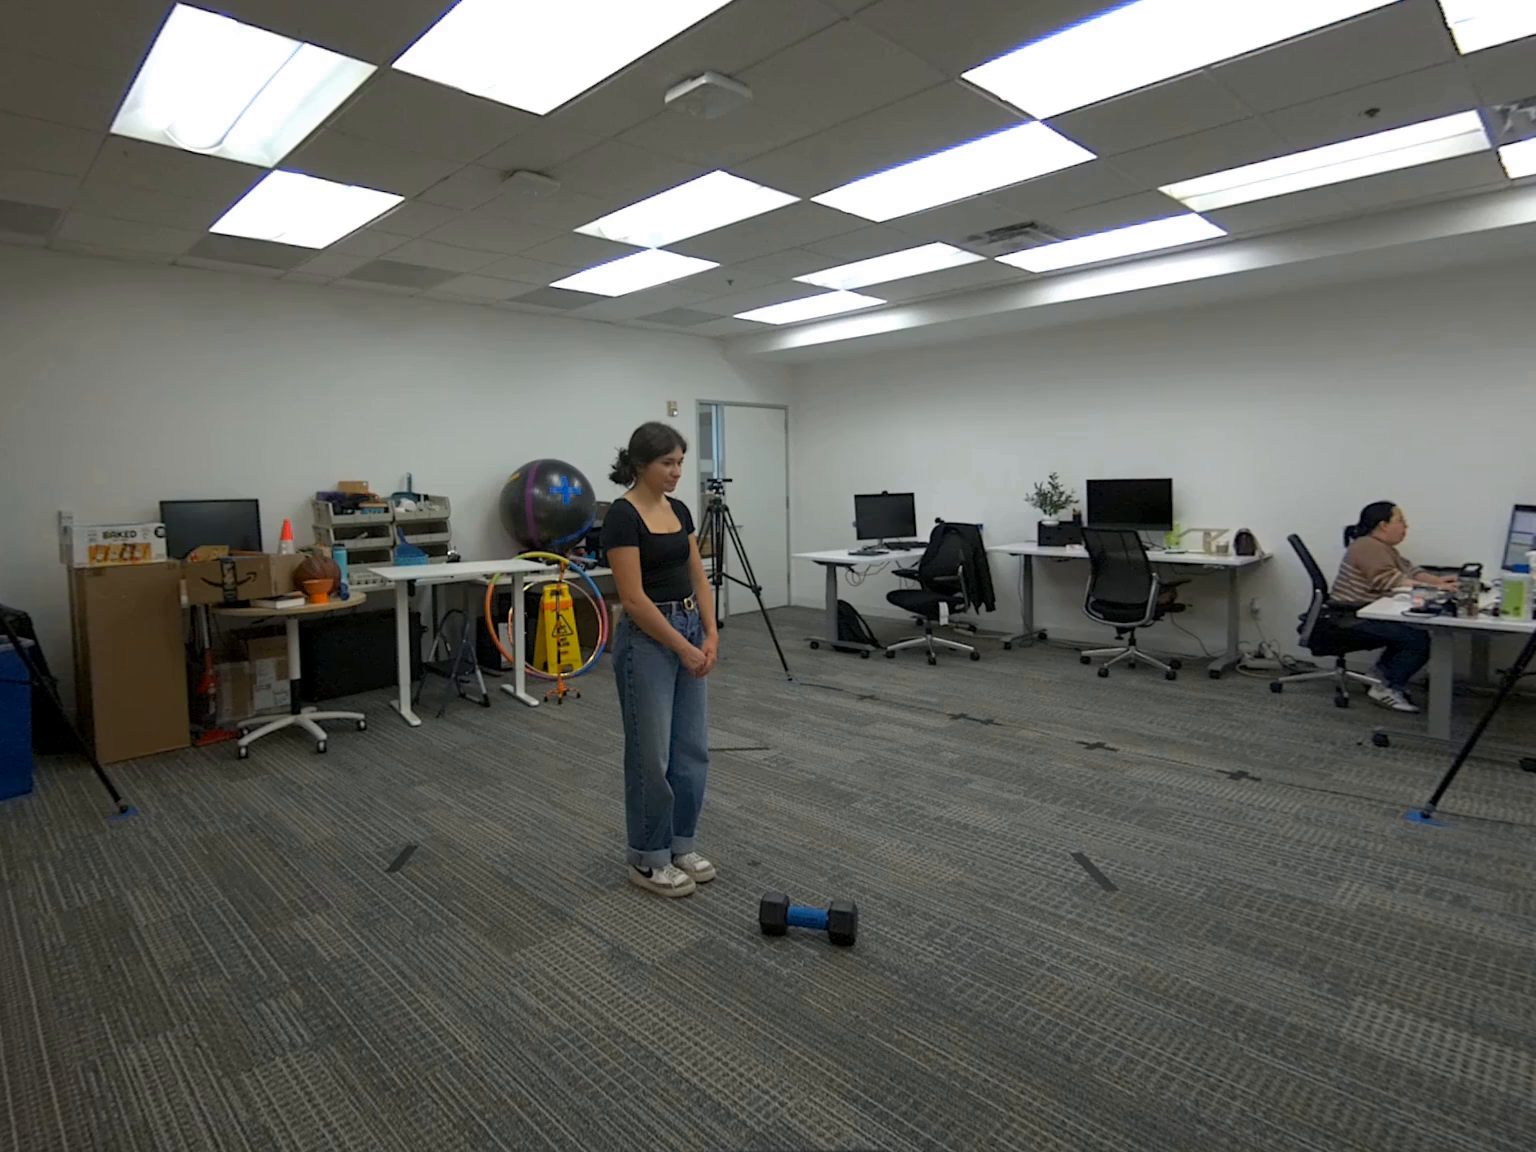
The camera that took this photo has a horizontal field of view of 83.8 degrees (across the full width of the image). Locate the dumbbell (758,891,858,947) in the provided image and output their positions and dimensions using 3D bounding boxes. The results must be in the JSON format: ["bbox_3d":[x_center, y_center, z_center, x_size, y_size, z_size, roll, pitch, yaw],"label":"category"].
[{"bbox_3d":[0.129,1.045,2.607,0.298,0.119,0.110,1,34,16],"label":"dumbbell"}]
